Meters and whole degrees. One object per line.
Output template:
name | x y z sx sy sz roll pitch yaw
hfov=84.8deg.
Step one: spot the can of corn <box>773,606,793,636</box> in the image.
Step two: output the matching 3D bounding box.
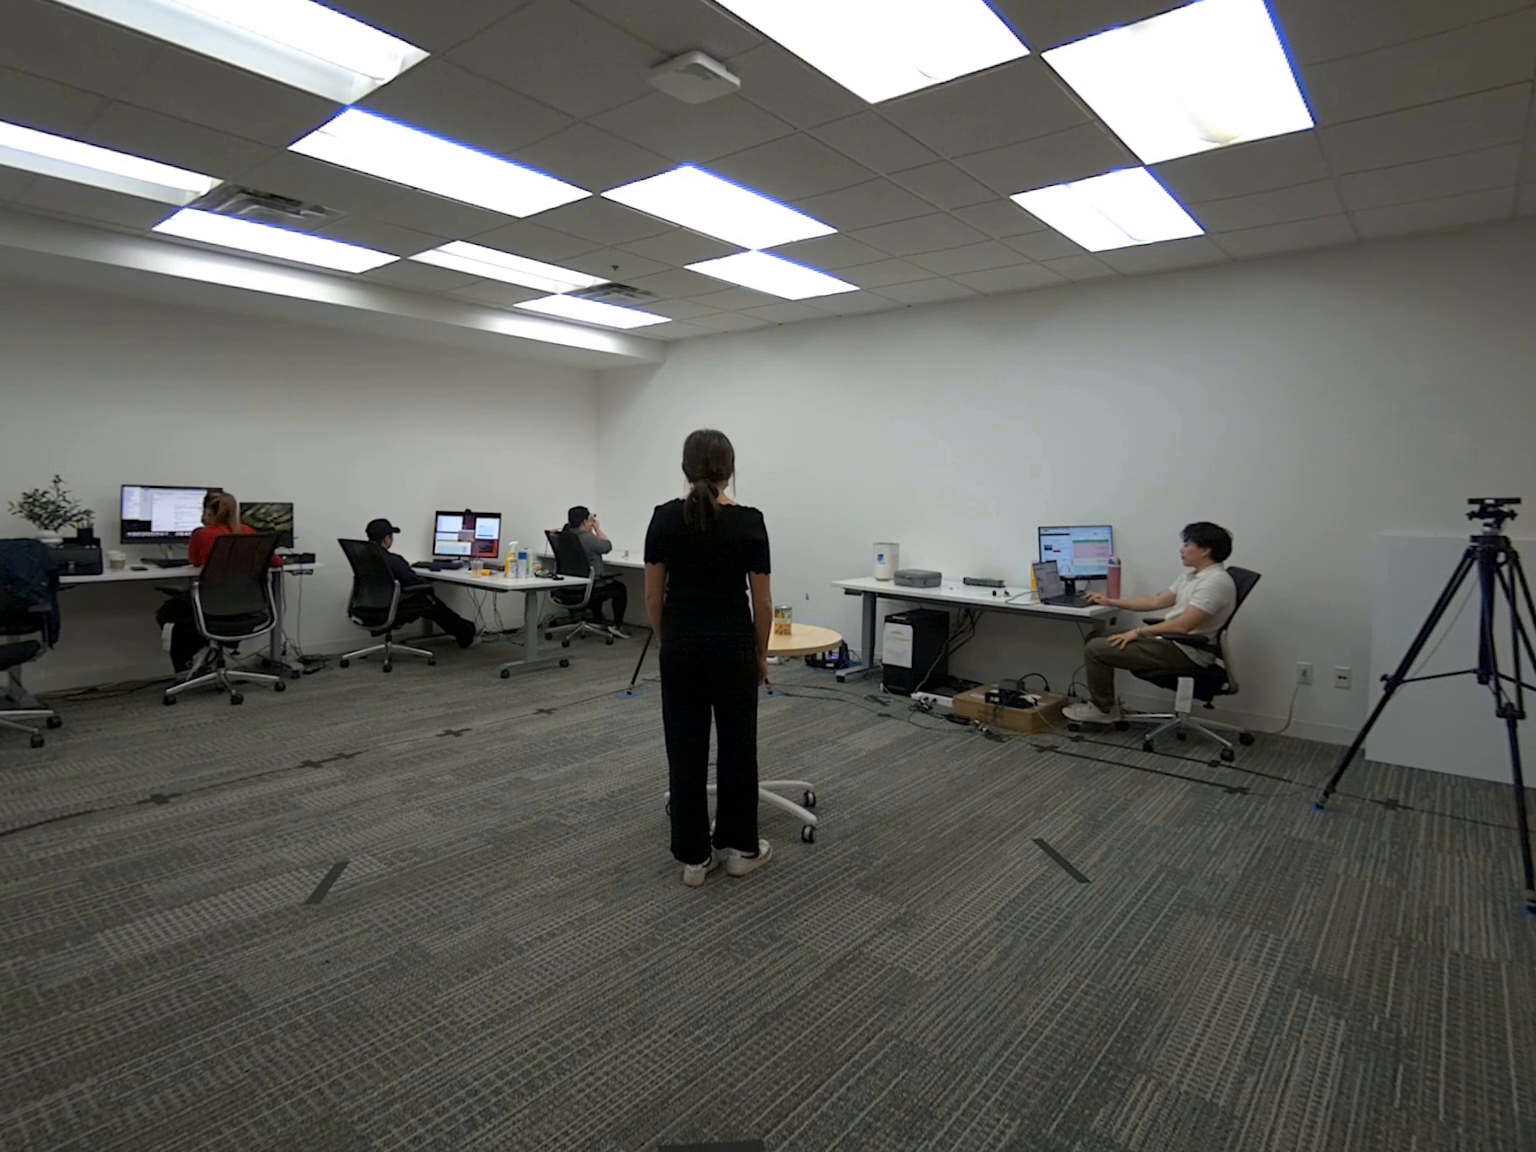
can of corn | 0.058 0.186 3.589 0.074 0.111 0.074 2 2 -2
